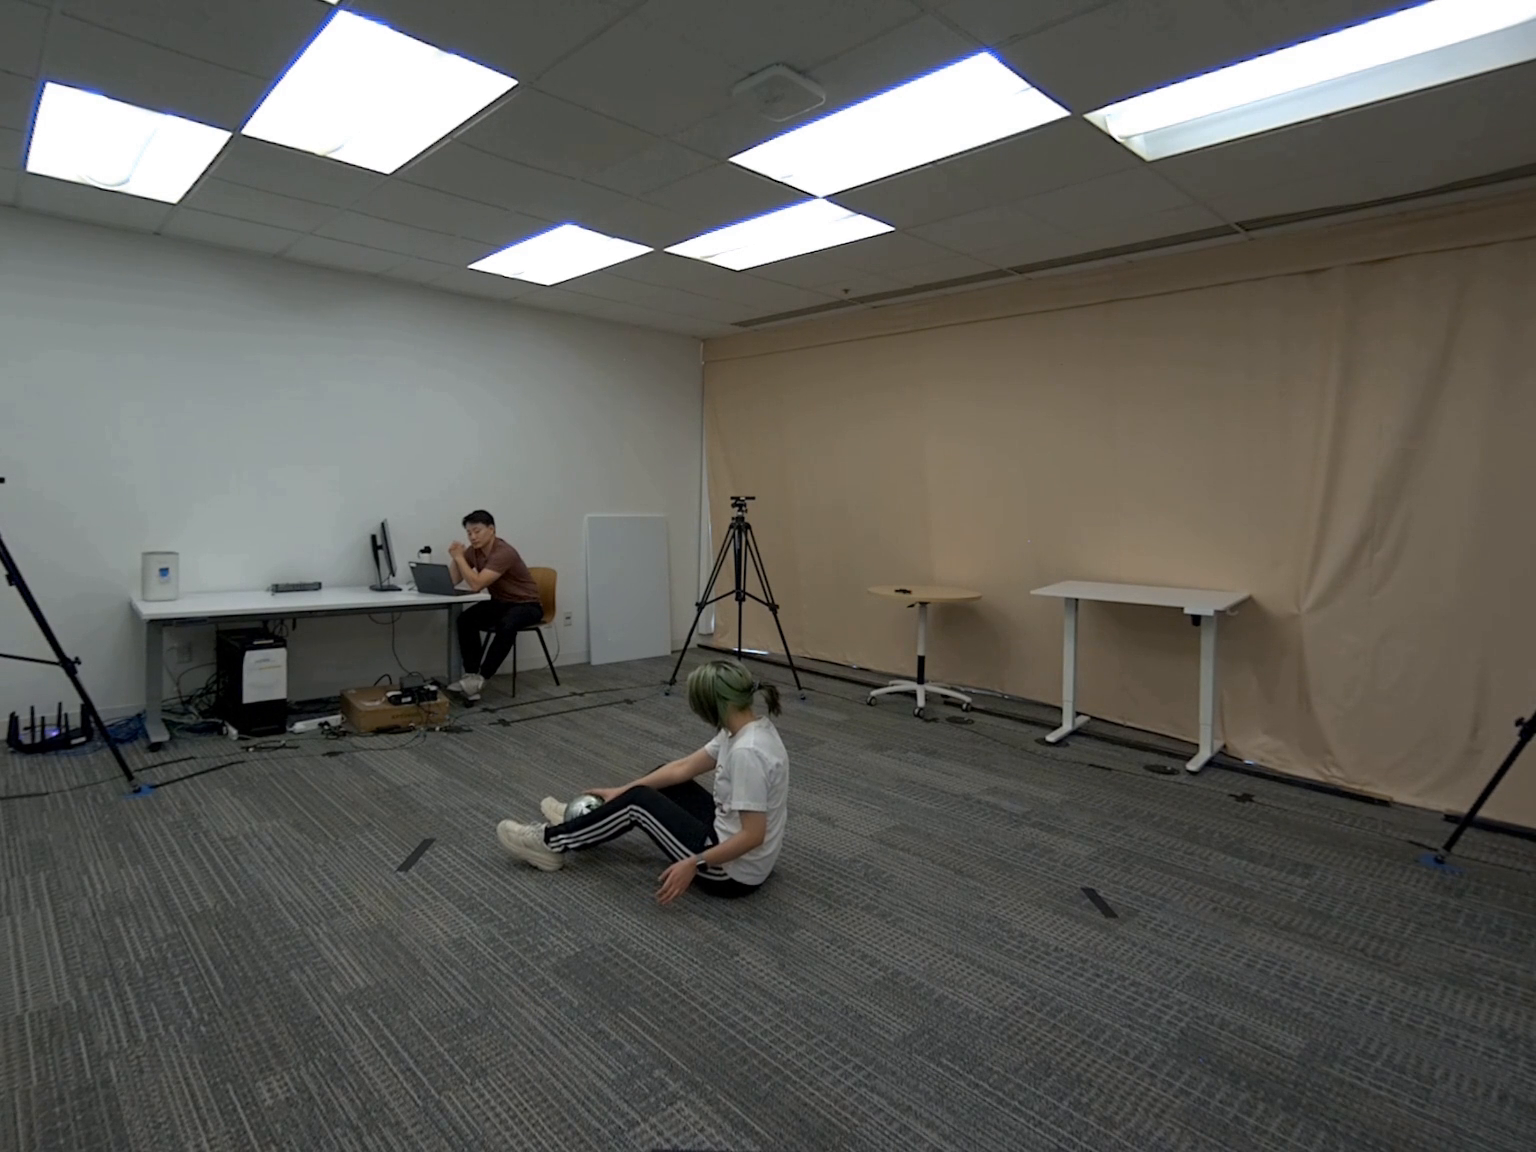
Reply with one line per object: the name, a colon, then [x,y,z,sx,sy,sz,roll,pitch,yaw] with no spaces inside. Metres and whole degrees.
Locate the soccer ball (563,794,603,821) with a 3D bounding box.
soccer ball: [-0.689,0.927,3.224,0.187,0.187,0.188,1,4,-1]
